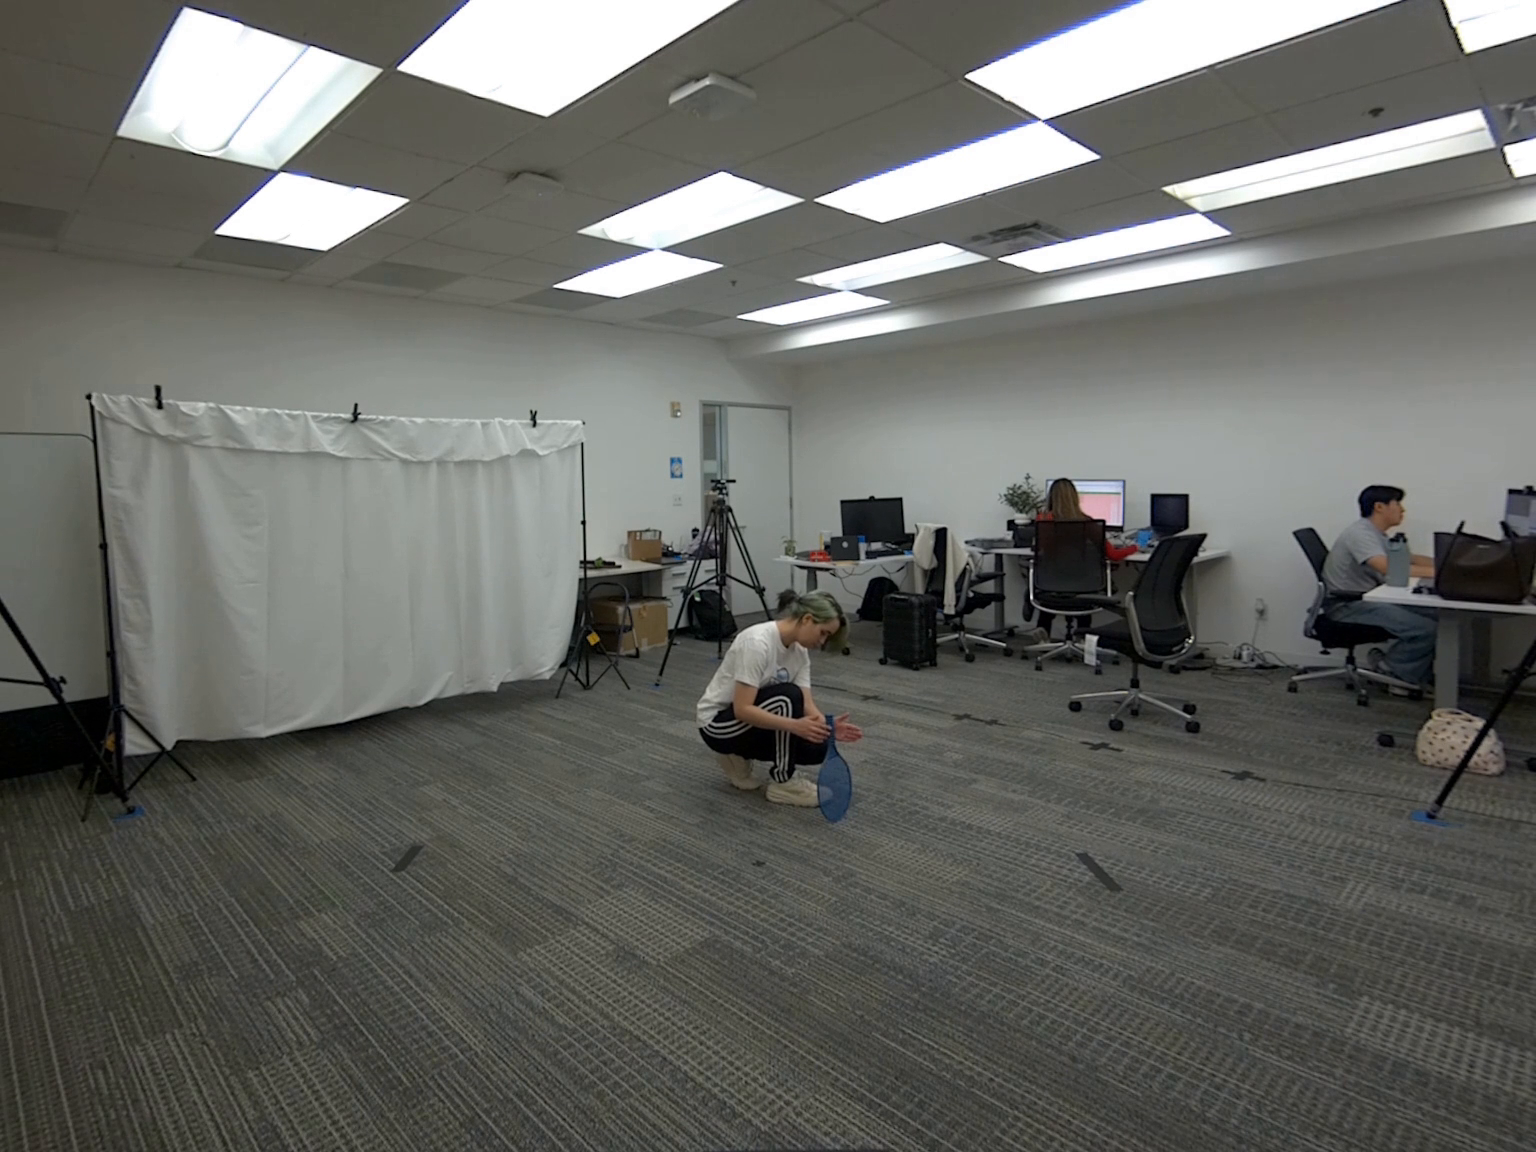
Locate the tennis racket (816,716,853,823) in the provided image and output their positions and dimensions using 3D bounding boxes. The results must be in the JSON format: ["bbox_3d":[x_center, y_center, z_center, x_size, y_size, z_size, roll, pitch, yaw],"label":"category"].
[{"bbox_3d":[0.265,0.784,3.492,0.208,0.432,0.032,-6,2,-43],"label":"tennis racket"}]
